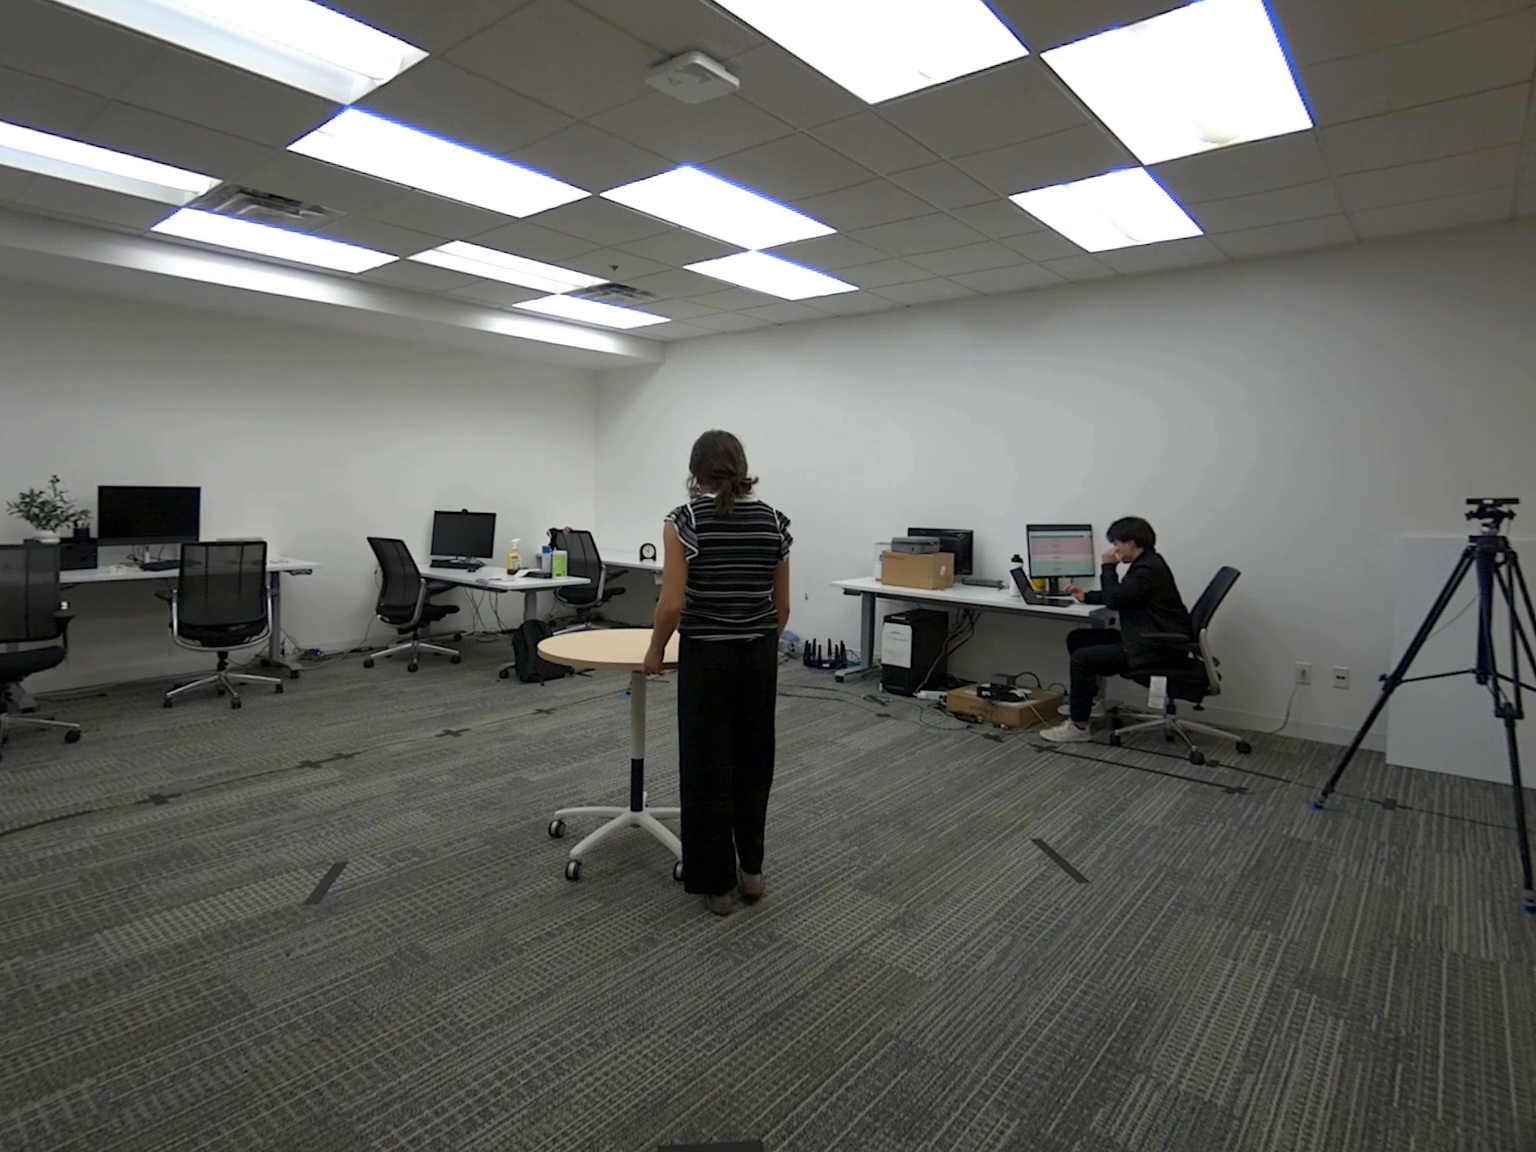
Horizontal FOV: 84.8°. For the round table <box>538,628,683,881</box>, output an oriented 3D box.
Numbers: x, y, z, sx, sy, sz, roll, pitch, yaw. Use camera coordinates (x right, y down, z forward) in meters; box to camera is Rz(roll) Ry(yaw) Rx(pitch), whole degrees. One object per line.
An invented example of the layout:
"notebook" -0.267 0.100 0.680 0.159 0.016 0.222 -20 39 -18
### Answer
"round table" -0.505 0.650 3.277 0.784 0.784 0.789 0 4 -2
